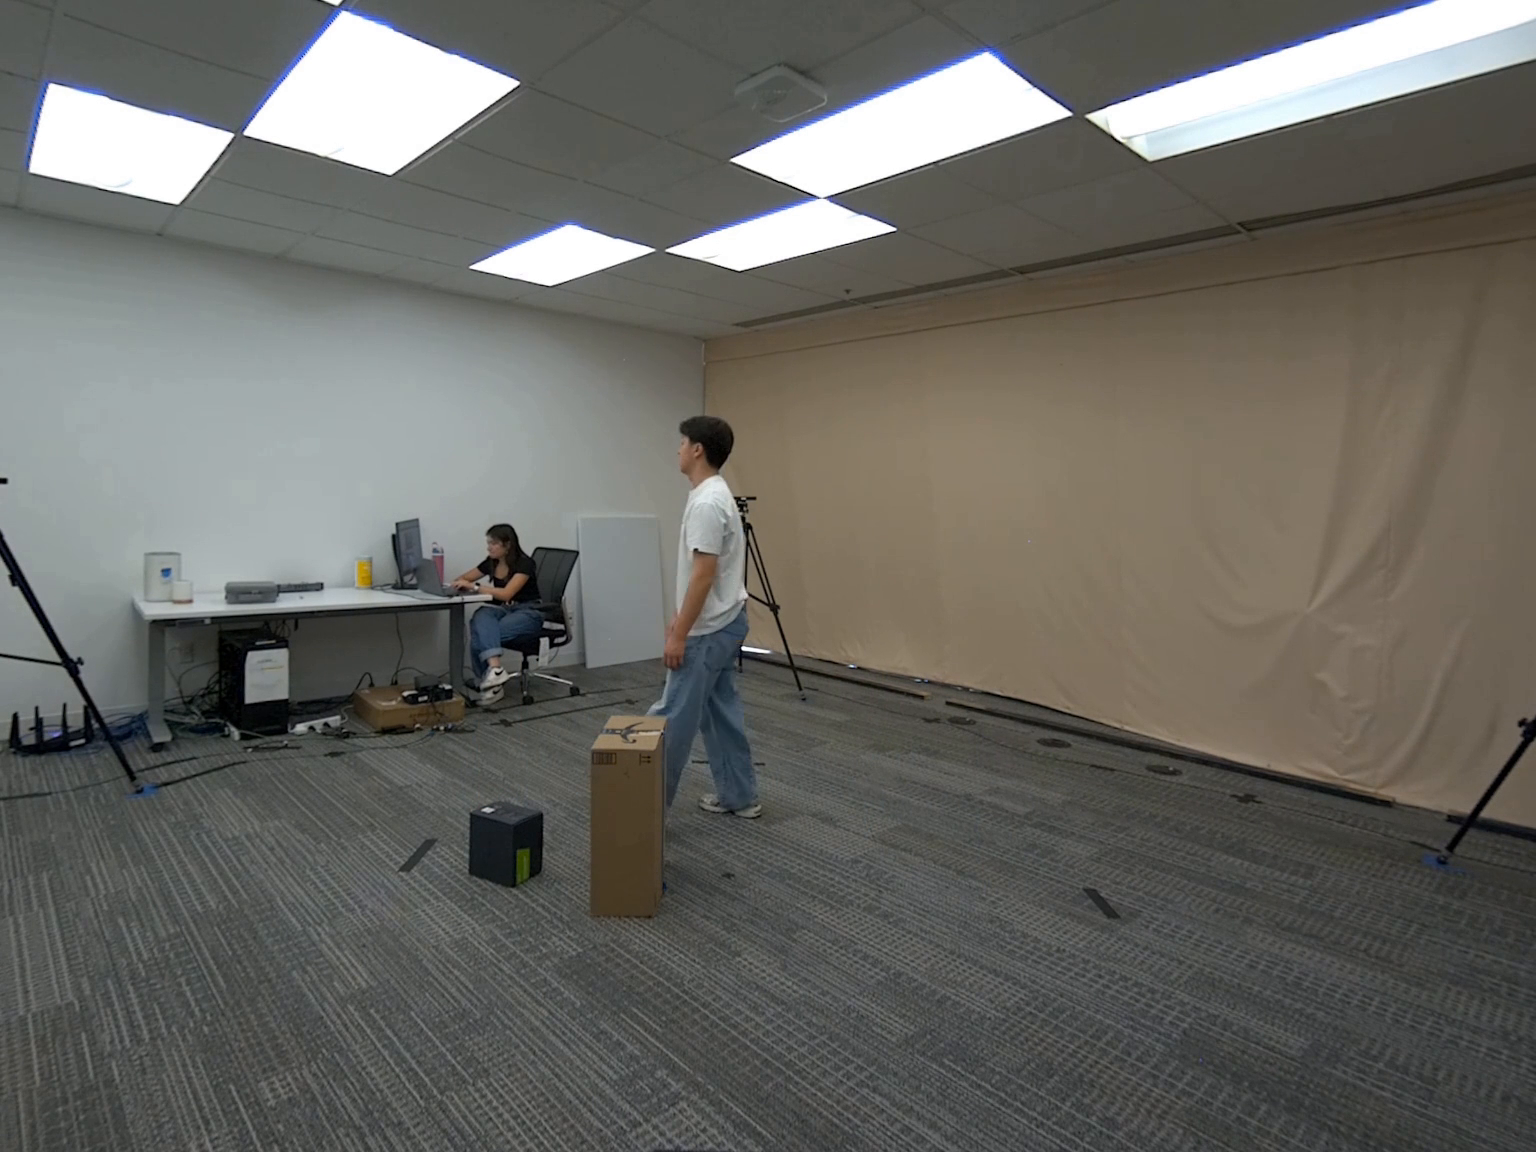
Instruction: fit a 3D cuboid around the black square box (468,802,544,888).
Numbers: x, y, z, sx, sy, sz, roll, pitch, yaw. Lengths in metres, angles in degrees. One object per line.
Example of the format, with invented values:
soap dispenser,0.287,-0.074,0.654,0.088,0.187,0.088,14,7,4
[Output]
black square box,-0.956,0.965,3.073,0.221,0.227,0.153,4,3,27
